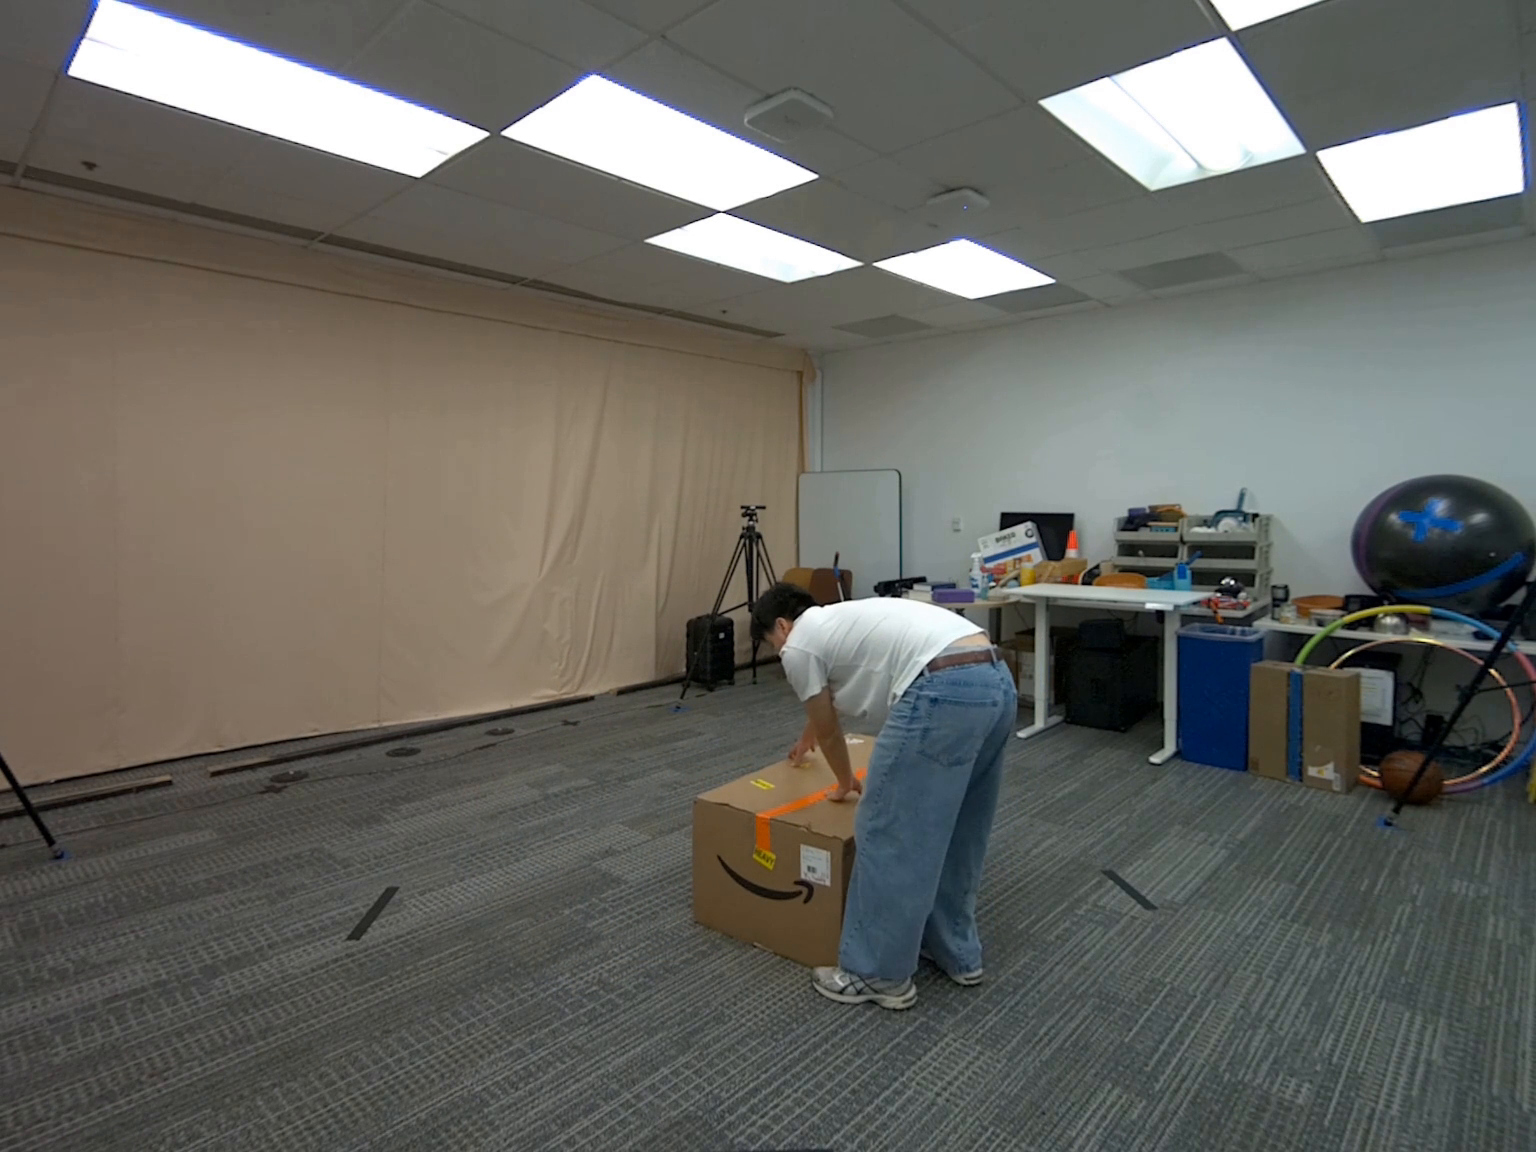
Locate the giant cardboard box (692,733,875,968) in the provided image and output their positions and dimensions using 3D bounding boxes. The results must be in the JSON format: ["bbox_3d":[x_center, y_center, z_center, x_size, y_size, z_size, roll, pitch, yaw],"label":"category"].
[{"bbox_3d":[0.279,0.931,3.024,0.596,0.425,0.996,3,6,37],"label":"giant cardboard box"}]
